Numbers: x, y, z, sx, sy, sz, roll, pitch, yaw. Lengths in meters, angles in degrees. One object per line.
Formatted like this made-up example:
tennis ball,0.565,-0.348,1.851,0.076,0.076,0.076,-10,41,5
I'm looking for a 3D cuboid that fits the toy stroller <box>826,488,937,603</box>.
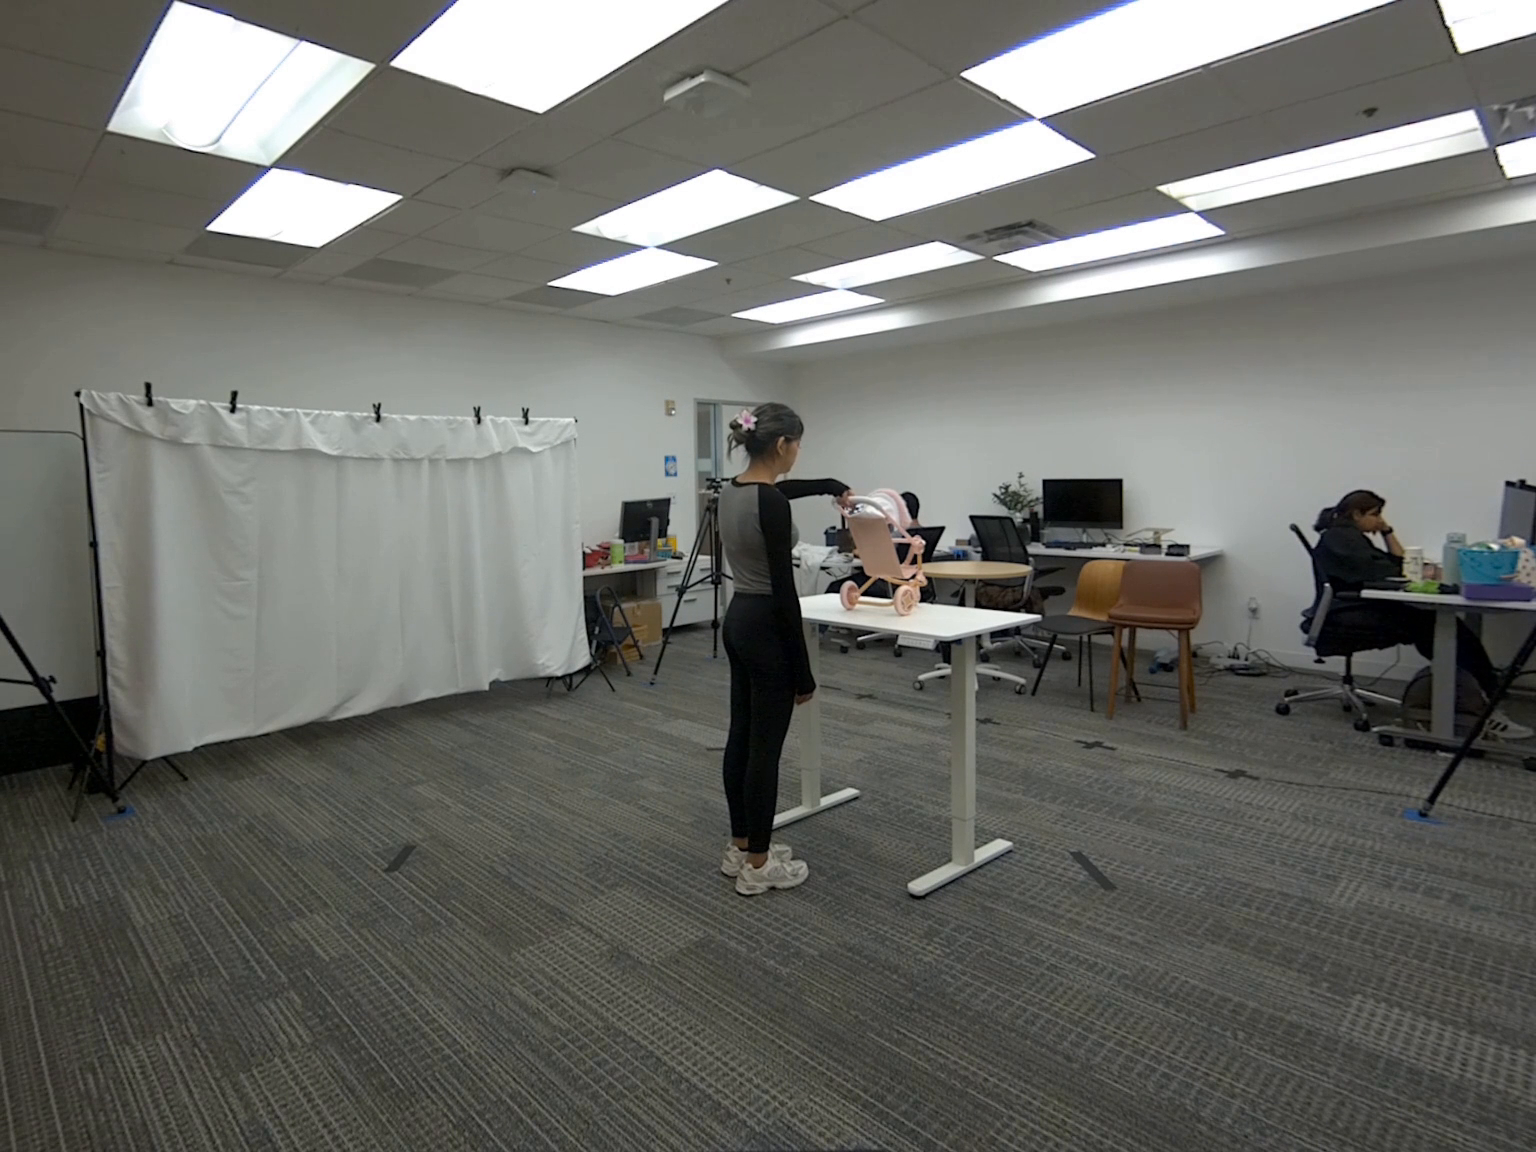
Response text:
toy stroller,0.454,-0.091,3.251,0.336,0.527,0.290,-22,18,-39
